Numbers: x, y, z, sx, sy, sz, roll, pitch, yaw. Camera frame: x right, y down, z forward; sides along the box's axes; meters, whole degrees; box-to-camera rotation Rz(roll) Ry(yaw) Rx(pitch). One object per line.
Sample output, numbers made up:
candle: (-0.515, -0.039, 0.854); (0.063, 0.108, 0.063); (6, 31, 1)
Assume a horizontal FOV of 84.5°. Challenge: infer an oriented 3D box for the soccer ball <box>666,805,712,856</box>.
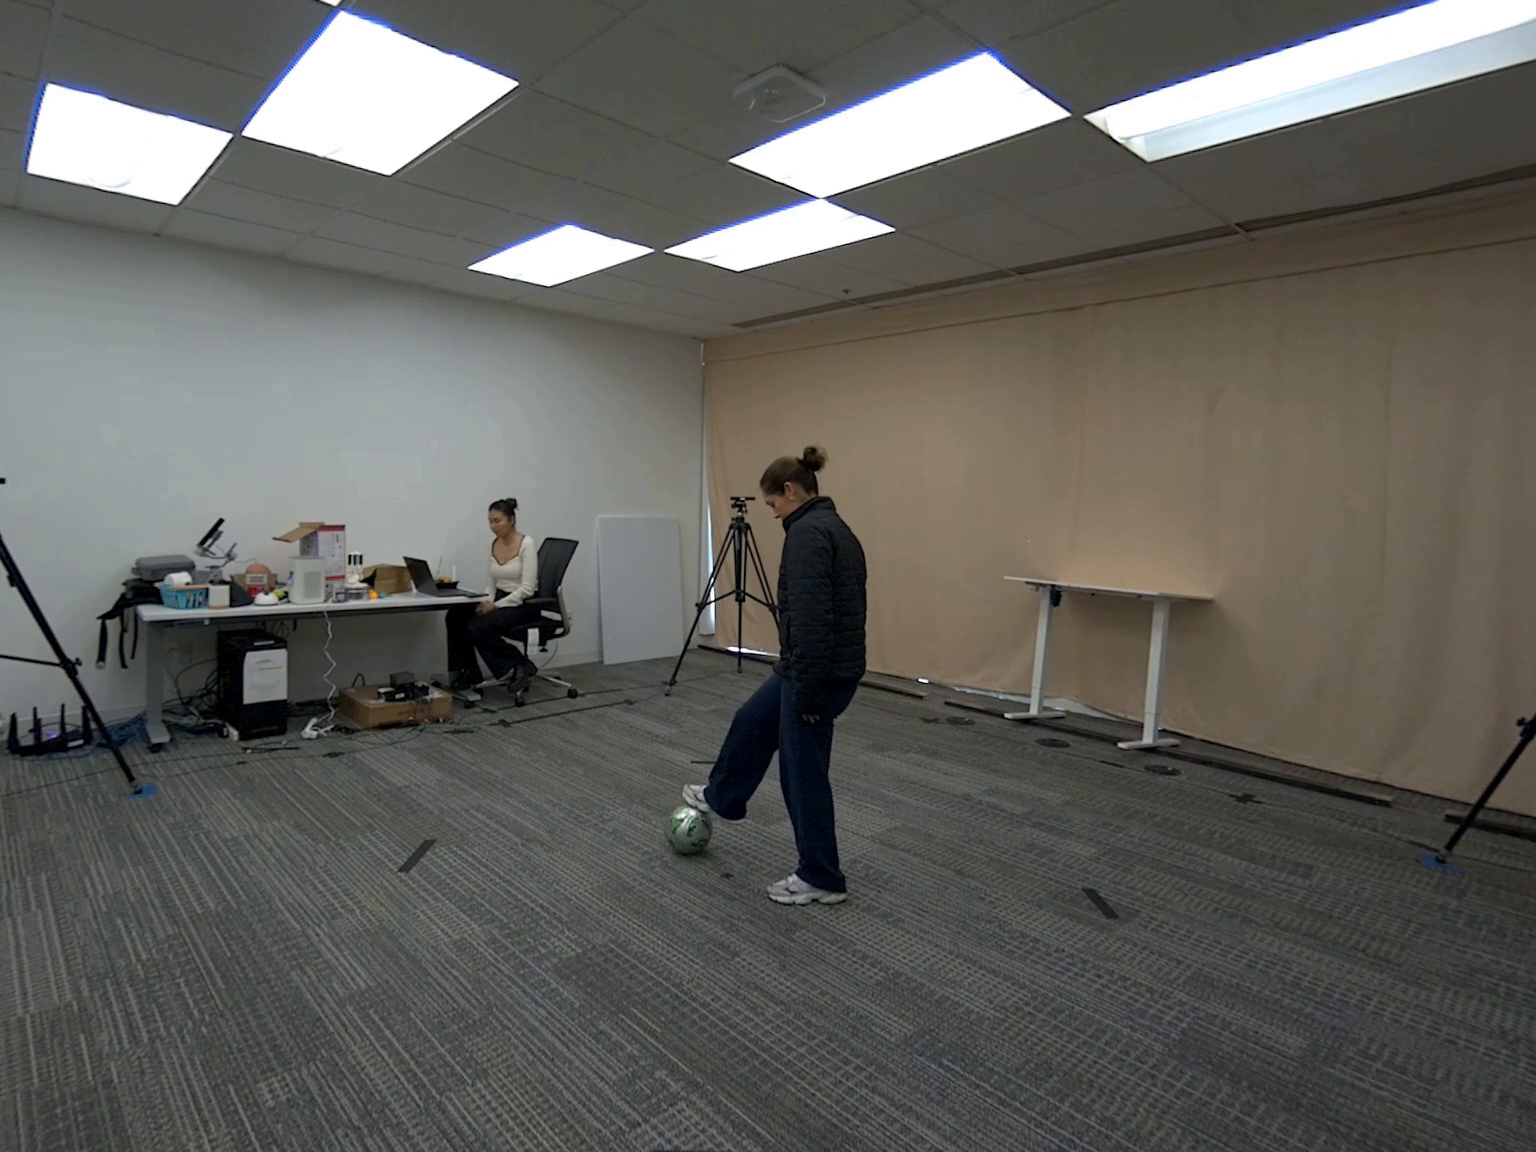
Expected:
soccer ball: (-0.308, 0.986, 3.283); (0.187, 0.187, 0.188); (1, 4, -1)
